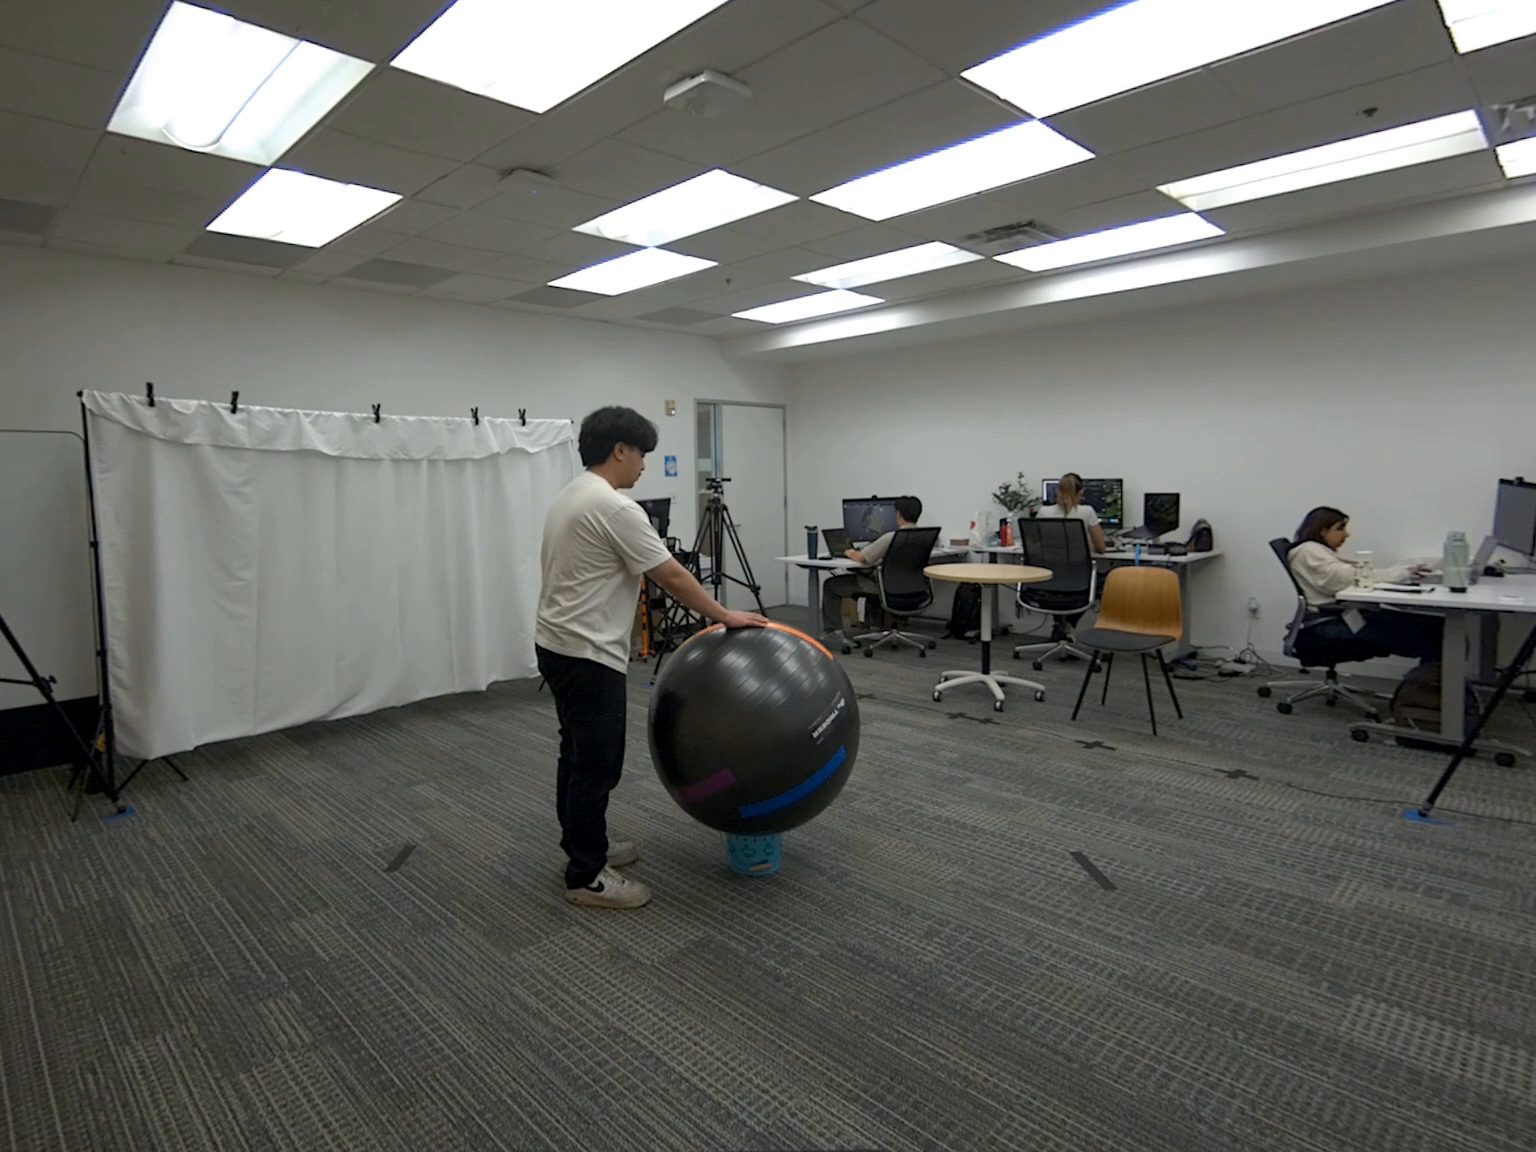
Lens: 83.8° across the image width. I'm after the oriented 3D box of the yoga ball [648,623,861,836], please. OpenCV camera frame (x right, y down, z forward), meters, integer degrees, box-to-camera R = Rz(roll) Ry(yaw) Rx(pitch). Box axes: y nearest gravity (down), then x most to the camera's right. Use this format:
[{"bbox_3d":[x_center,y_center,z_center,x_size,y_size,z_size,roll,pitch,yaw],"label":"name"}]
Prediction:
[{"bbox_3d":[-0.051,0.538,3.058,0.757,0.755,0.762,-1,5,-2],"label":"yoga ball"}]
